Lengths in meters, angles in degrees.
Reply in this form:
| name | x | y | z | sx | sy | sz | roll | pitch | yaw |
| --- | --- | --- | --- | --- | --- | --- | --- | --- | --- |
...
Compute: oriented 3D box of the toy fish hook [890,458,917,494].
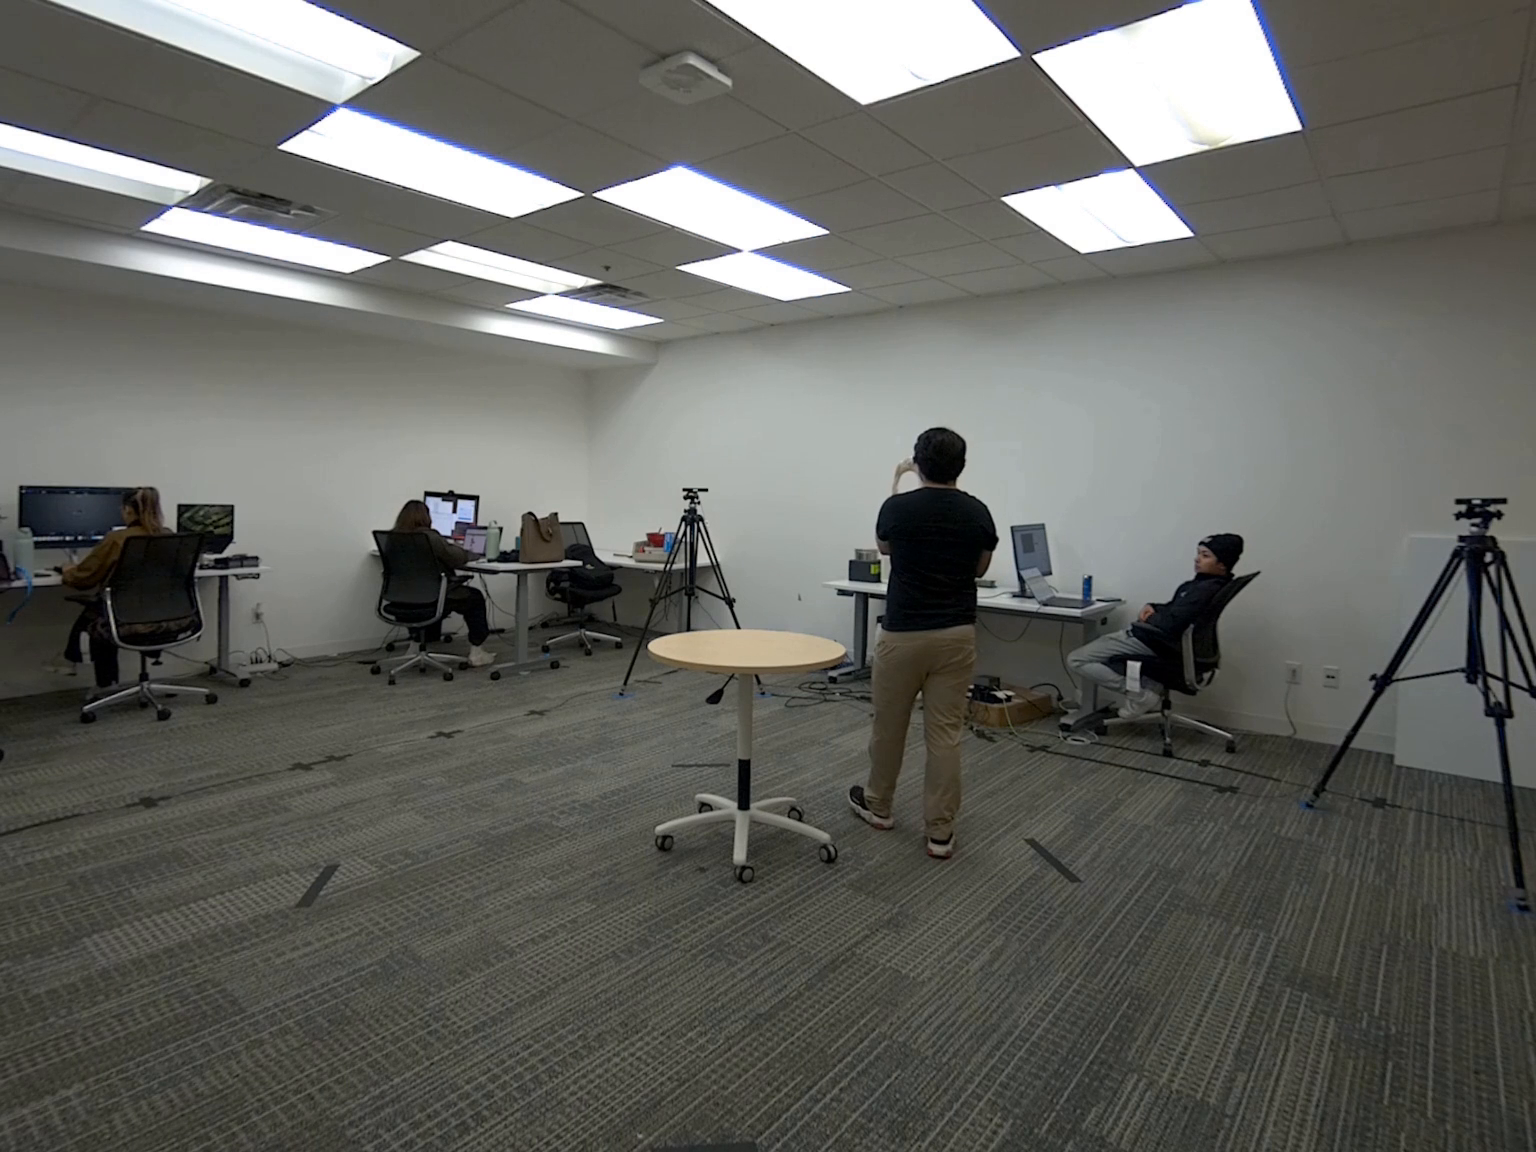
| name | x | y | z | sx | sy | sz | roll | pitch | yaw |
| --- | --- | --- | --- | --- | --- | --- | --- | --- | --- |
| toy fish hook | 0.662 | -0.303 | 3.905 | 0.047 | 0.513 | 0.228 | 1 | -12 | -30 |
